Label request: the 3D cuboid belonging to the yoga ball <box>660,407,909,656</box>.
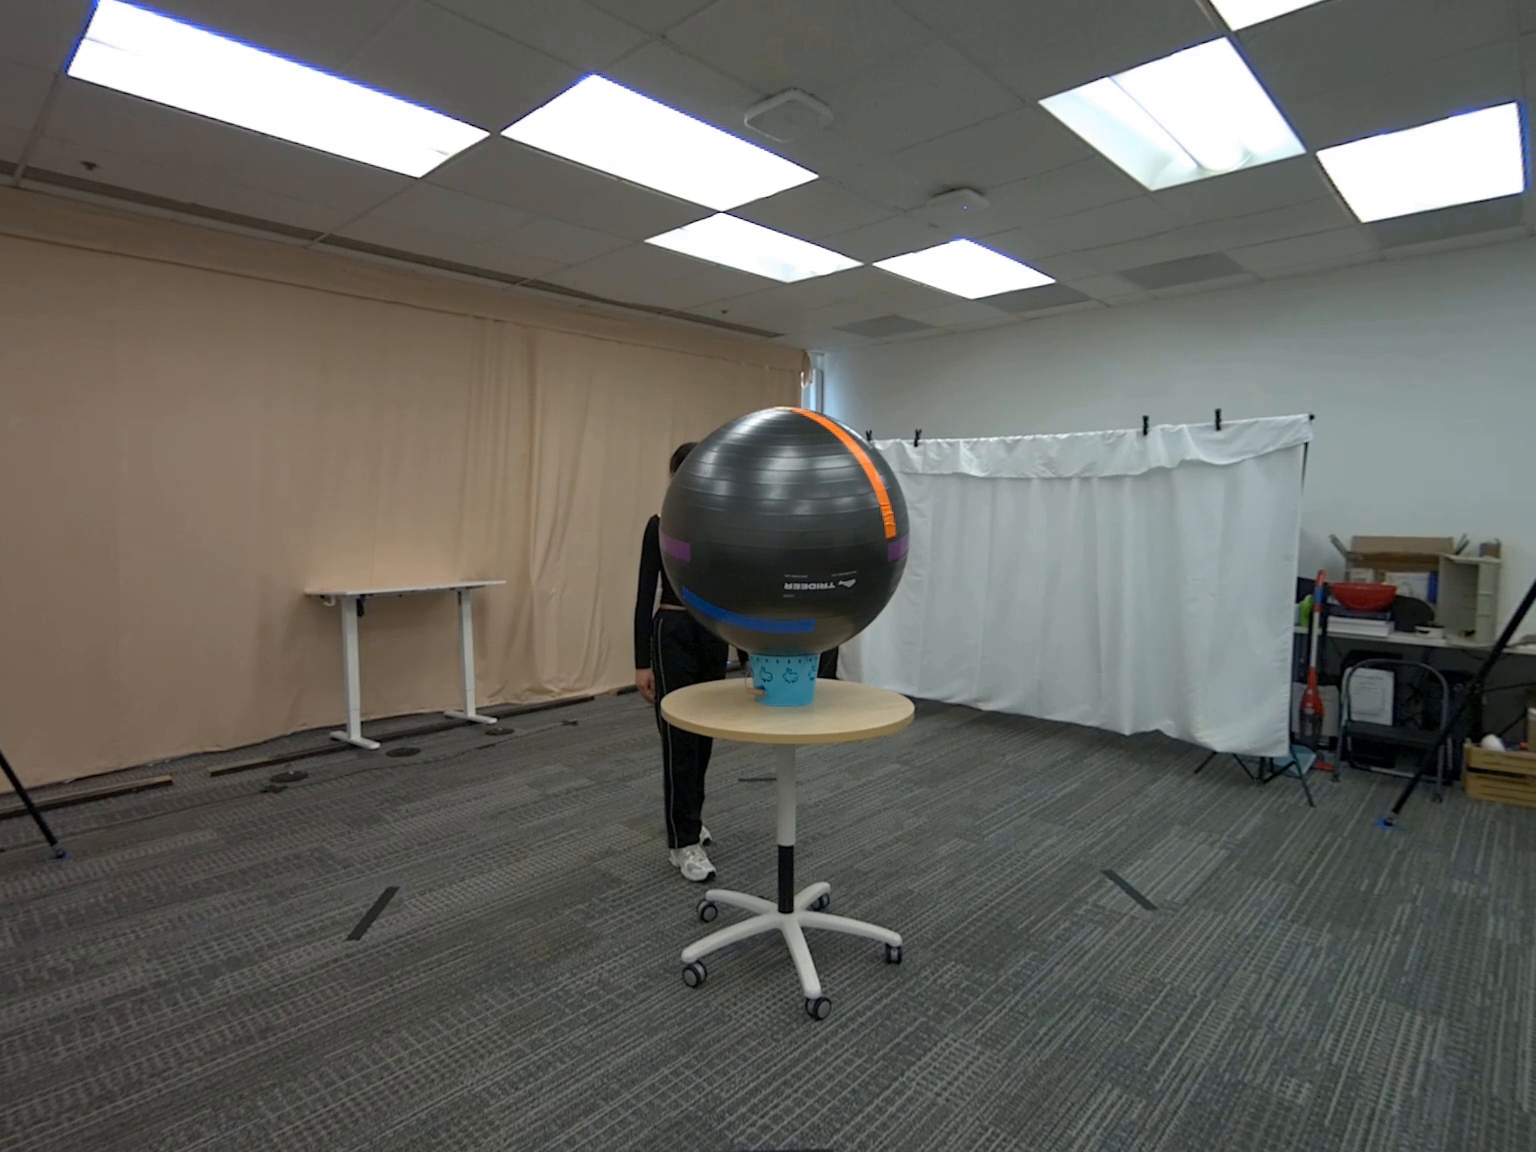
[{"bbox_3d":[0.043,-0.122,2.583,0.757,0.756,0.760,0,4,-2],"label":"yoga ball"}]
